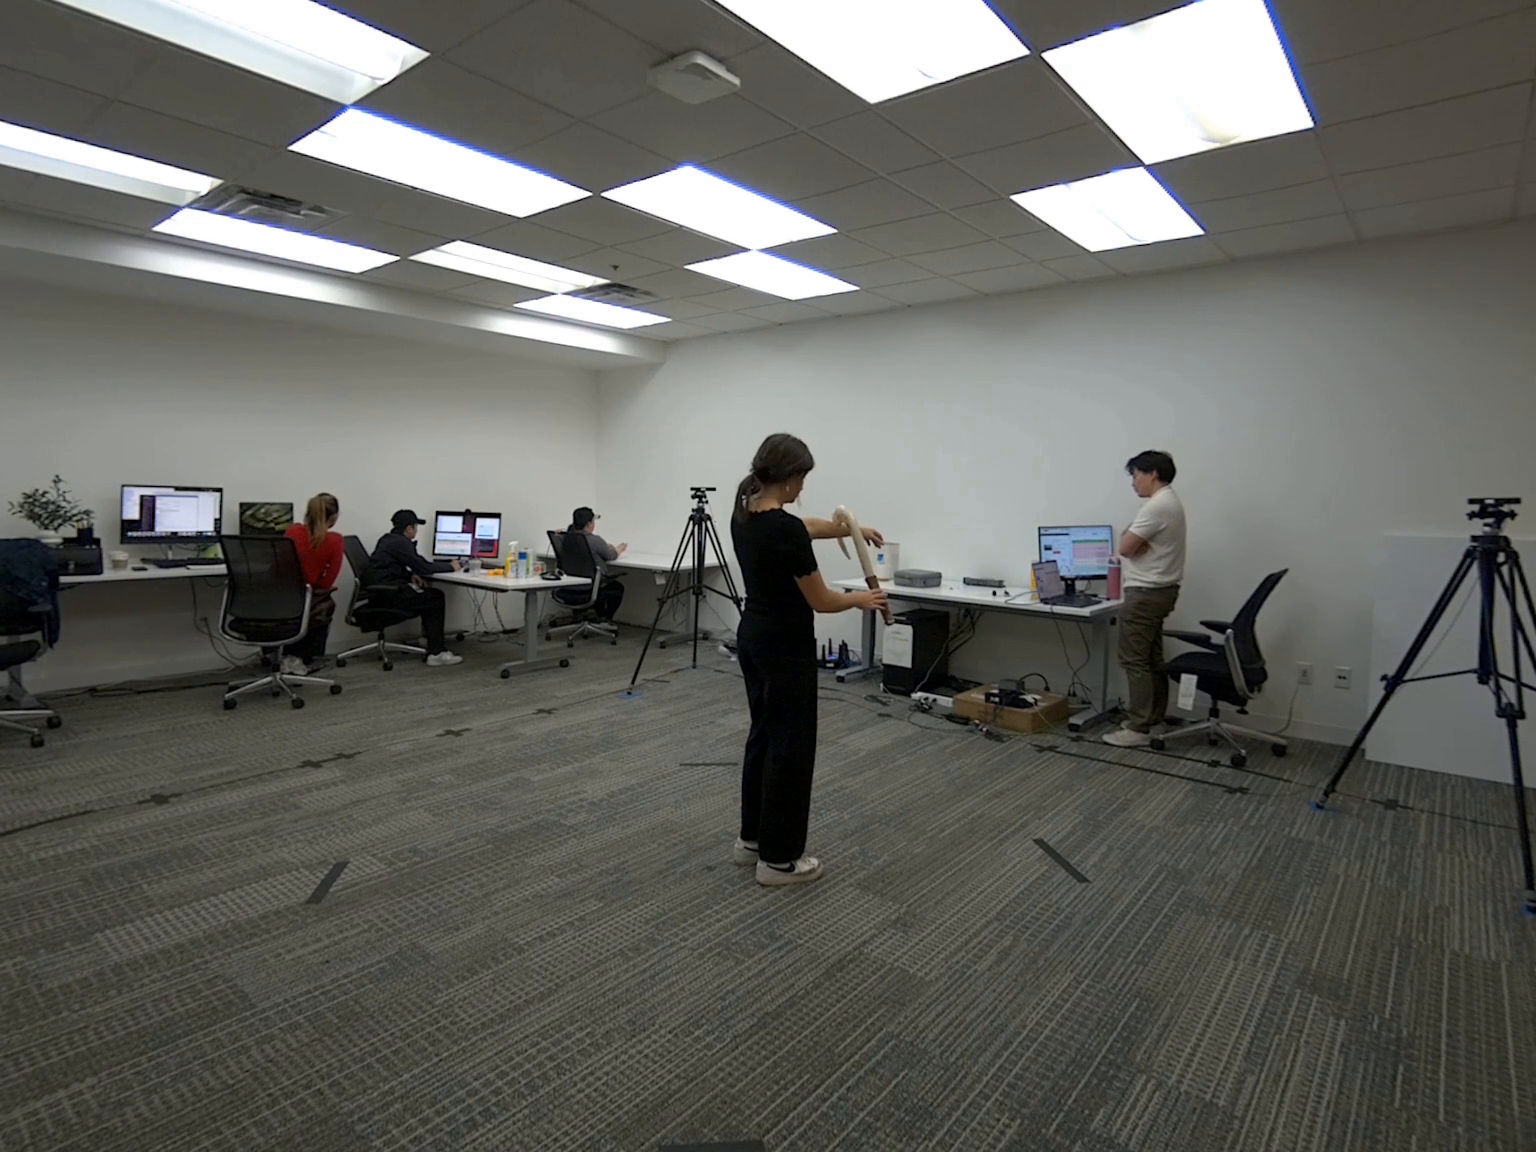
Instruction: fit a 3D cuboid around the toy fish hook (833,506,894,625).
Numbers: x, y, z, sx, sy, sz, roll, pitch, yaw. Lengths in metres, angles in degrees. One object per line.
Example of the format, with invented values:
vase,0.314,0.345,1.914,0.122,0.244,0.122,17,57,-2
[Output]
toy fish hook,0.350,-0.022,3.331,0.048,0.514,0.223,-16,-11,-11
